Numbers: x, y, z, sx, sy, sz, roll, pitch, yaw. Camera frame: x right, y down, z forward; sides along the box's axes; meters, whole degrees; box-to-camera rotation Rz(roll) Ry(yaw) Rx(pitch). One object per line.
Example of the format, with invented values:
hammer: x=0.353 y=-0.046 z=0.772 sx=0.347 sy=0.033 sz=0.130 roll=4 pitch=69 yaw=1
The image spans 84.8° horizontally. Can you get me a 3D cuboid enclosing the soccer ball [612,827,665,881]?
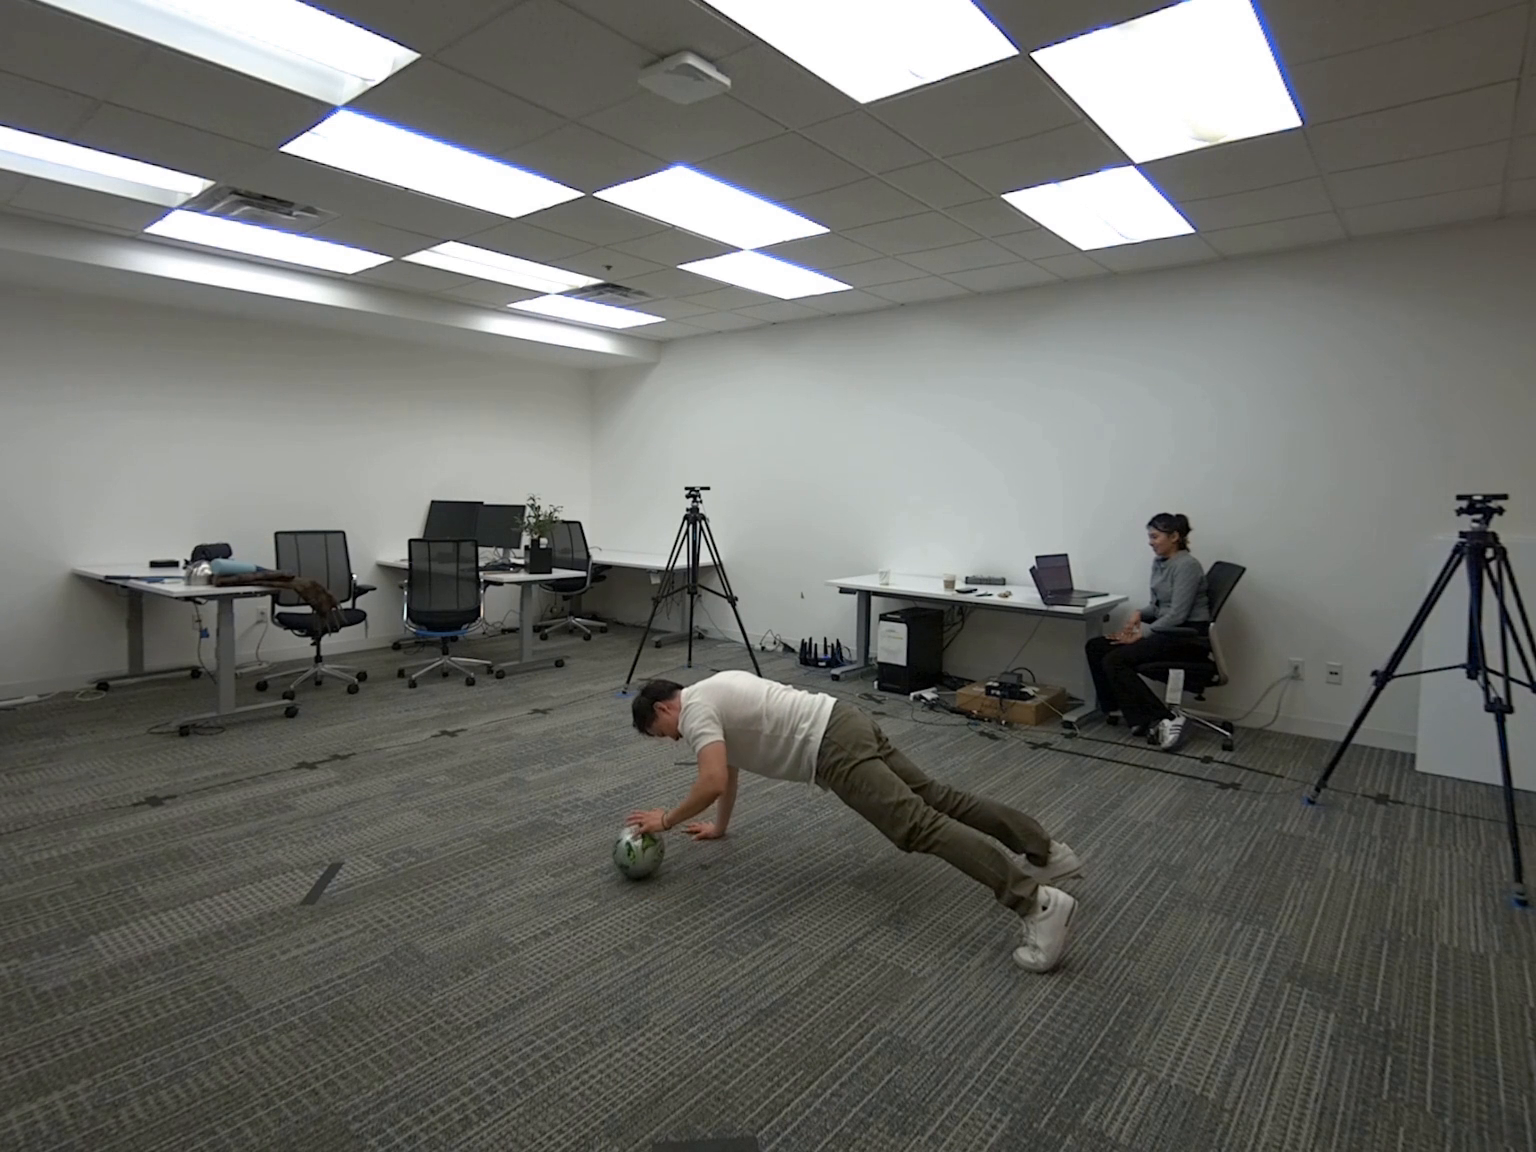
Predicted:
soccer ball: x=-0.469 y=0.976 z=3.040 sx=0.187 sy=0.187 sz=0.188 roll=1 pitch=4 yaw=-2
